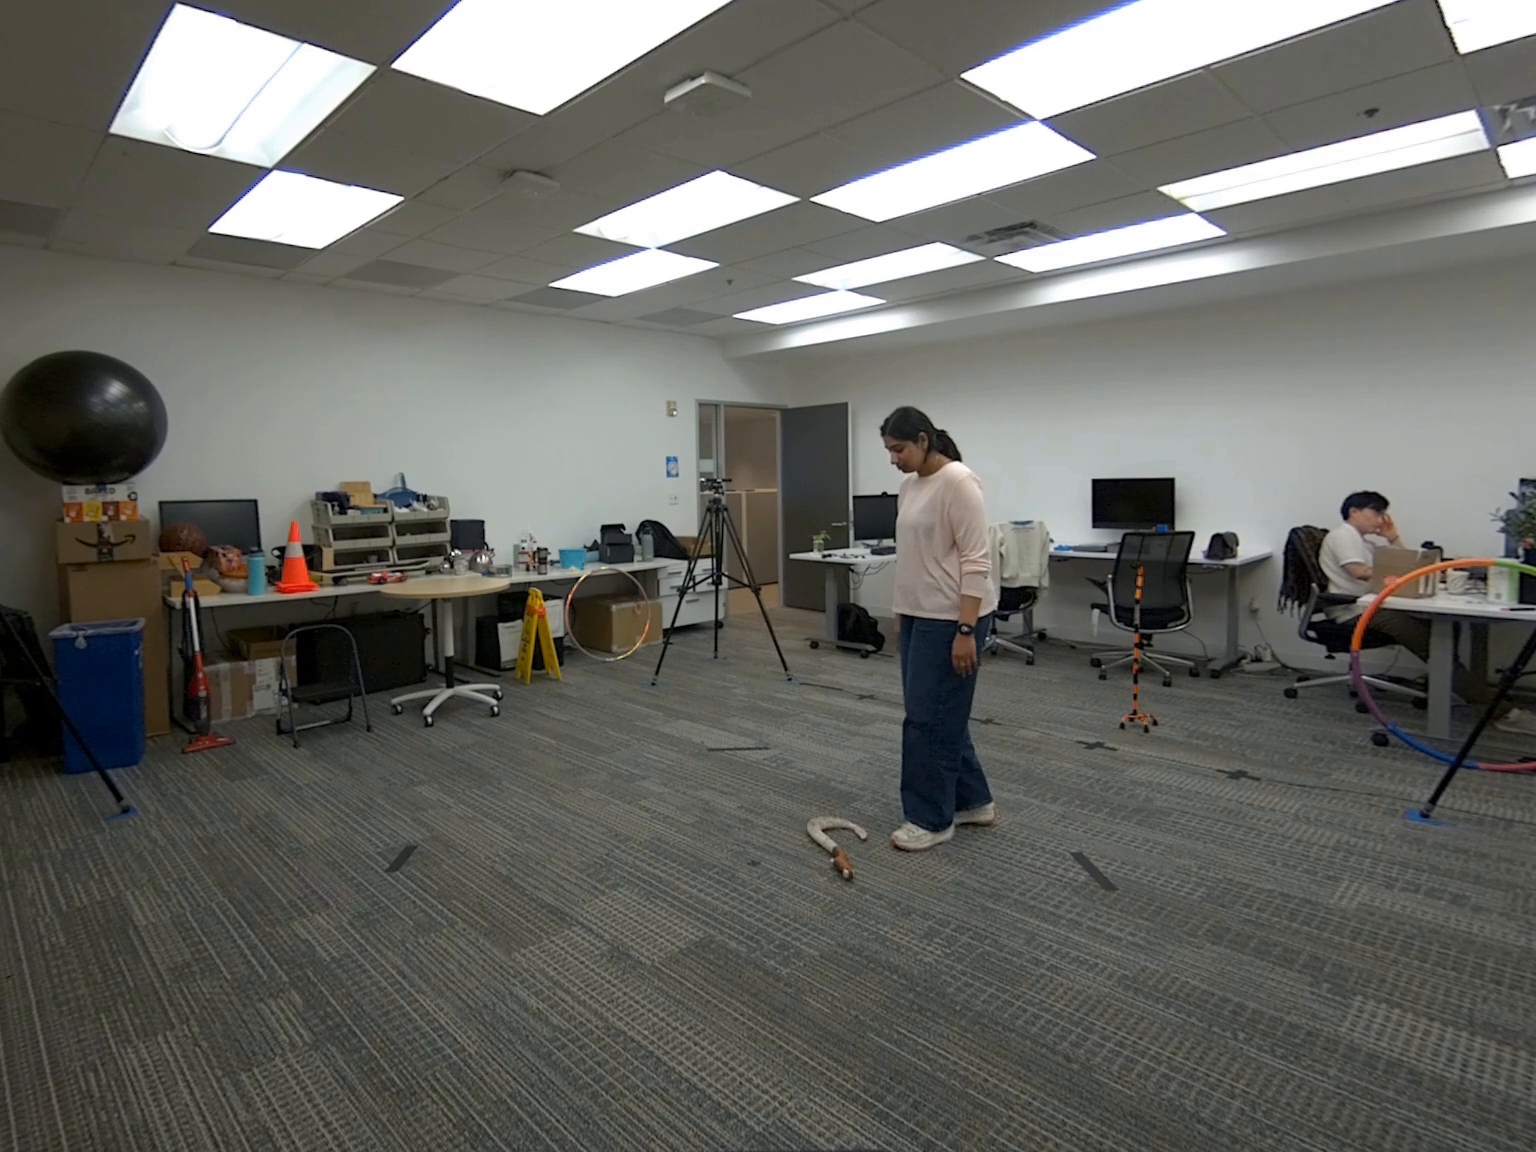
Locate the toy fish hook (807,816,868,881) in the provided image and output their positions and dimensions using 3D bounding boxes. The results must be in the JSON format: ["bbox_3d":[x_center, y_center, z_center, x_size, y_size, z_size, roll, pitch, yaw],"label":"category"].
[{"bbox_3d":[0.292,1.005,3.194,0.223,0.048,0.513,-4,7,-10],"label":"toy fish hook"}]
